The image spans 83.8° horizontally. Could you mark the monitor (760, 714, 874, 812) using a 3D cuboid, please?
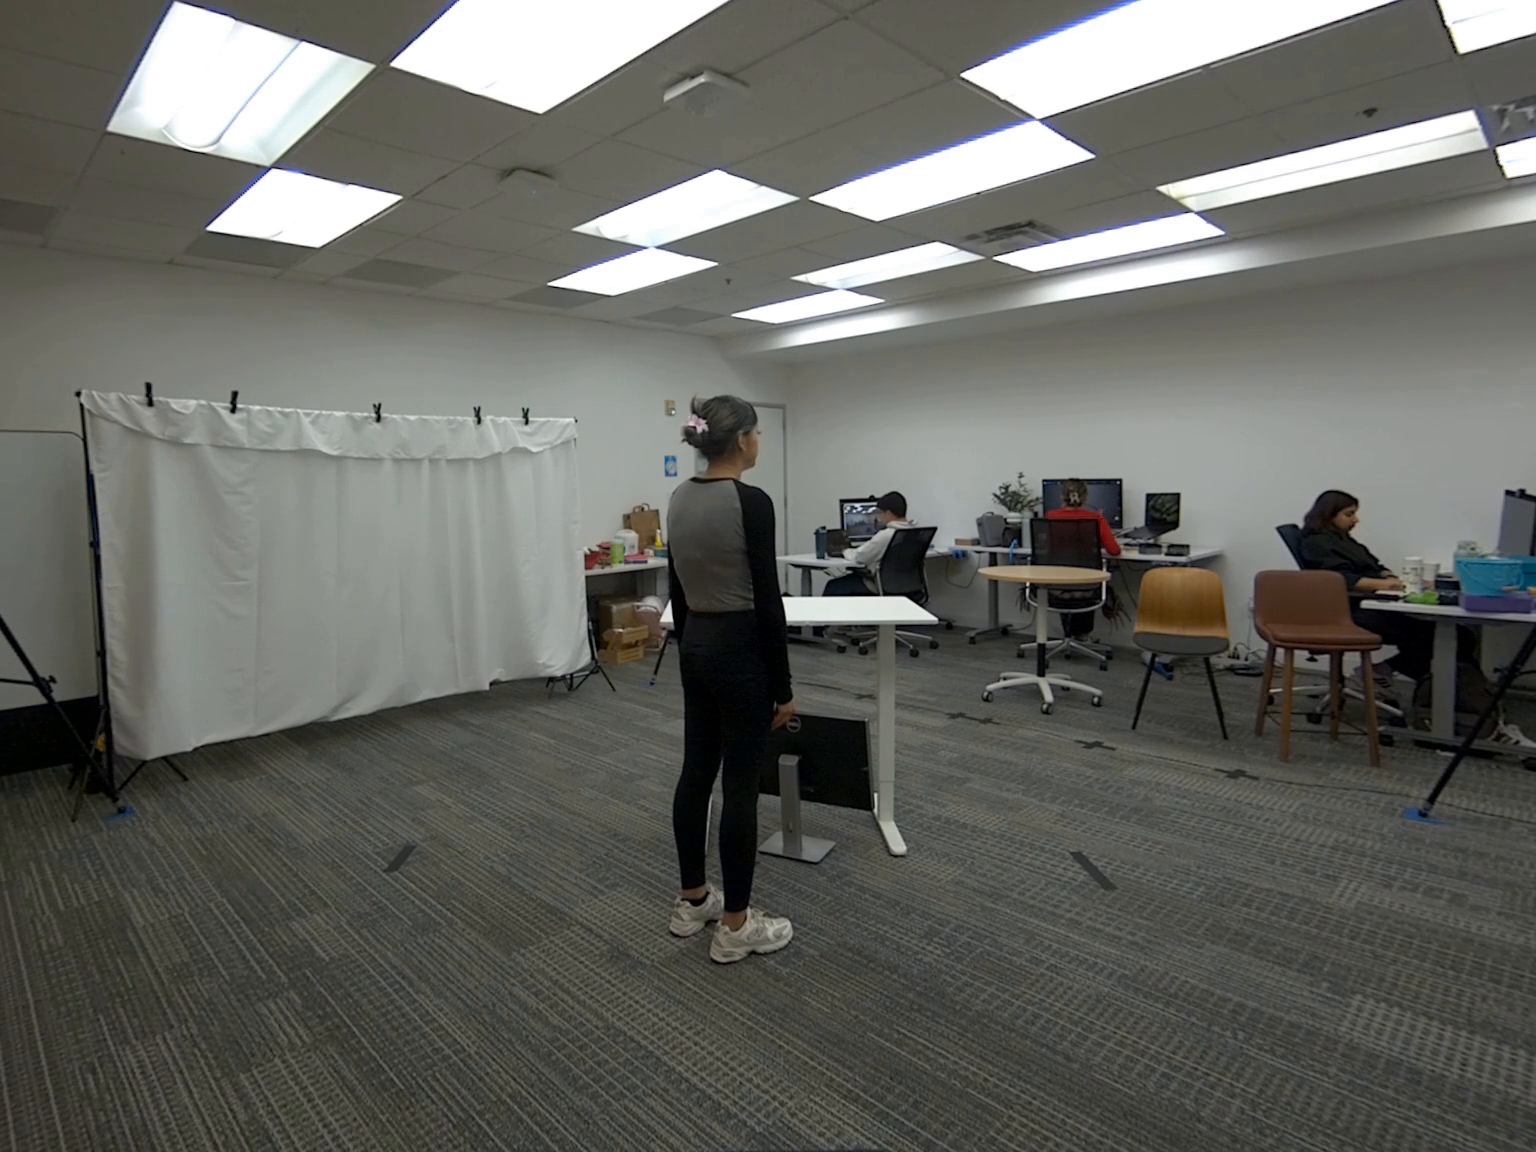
[{"bbox_3d":[0.109,0.770,3.205,0.552,0.522,0.183,2,2,26],"label":"monitor"}]
